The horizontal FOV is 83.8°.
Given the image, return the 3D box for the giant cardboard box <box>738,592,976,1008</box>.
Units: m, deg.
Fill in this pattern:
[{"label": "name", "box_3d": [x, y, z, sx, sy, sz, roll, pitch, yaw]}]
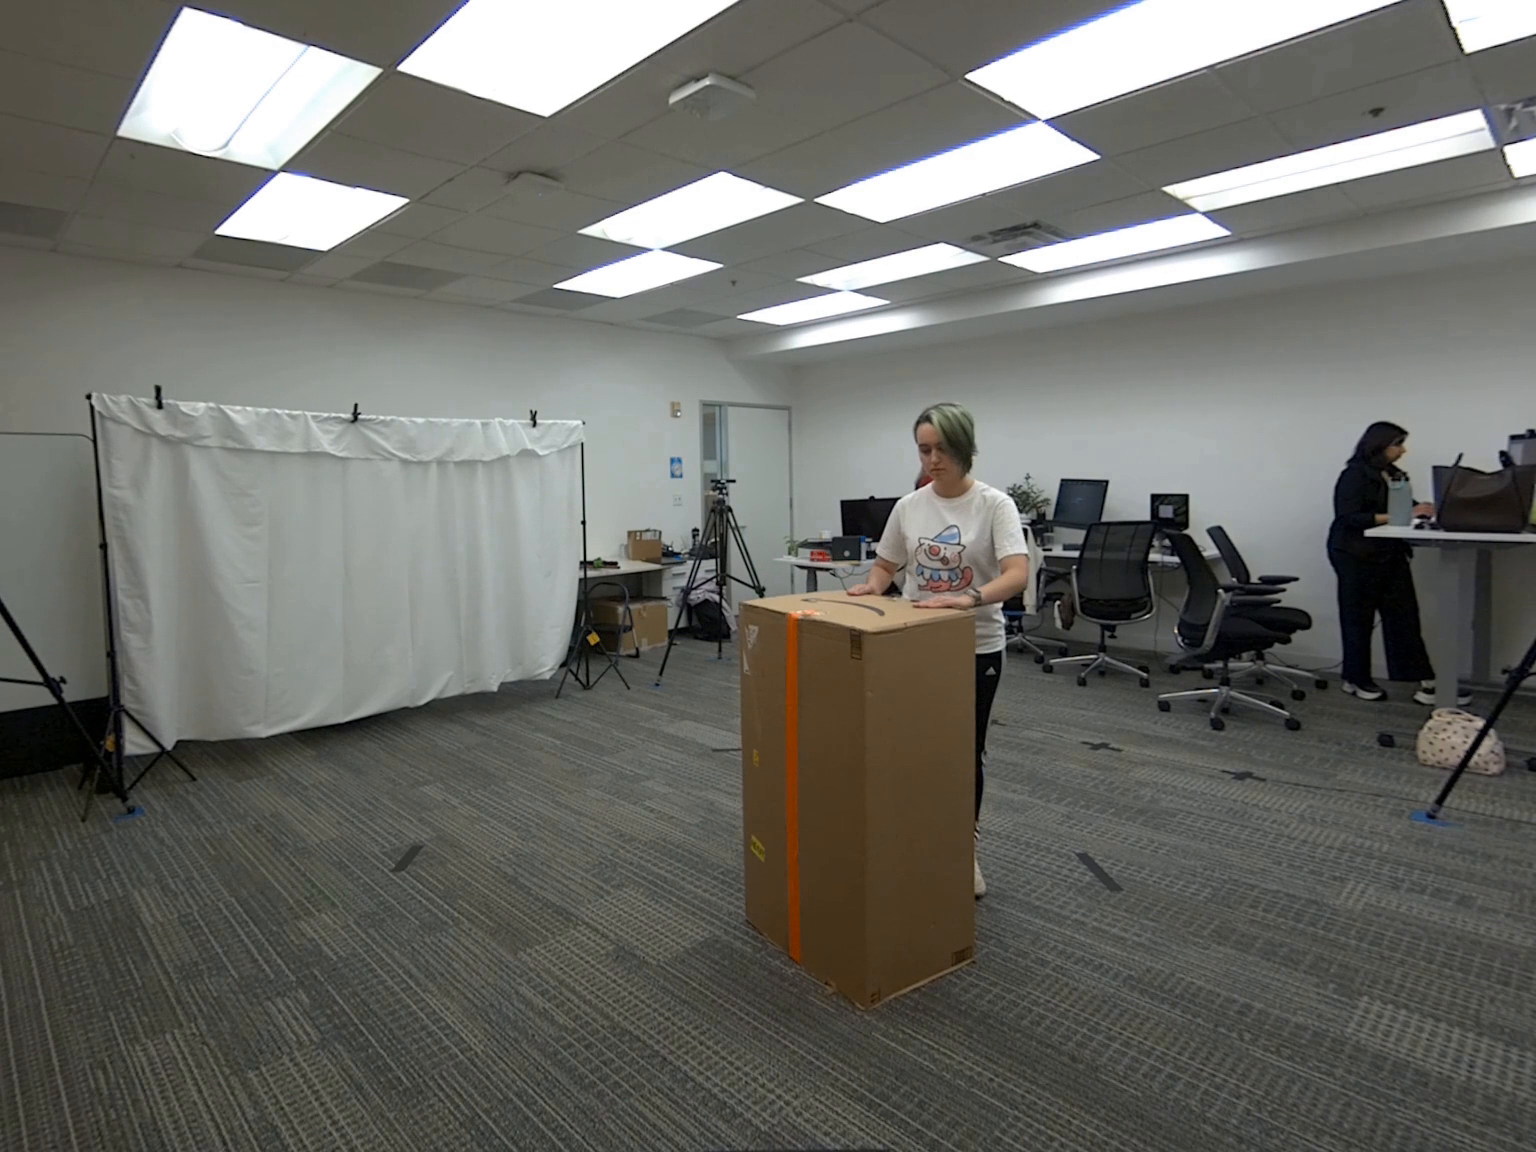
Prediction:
[{"label": "giant cardboard box", "box_3d": [0.251, 0.600, 2.544, 0.435, 1.023, 0.601, -4, 6, -35]}]
